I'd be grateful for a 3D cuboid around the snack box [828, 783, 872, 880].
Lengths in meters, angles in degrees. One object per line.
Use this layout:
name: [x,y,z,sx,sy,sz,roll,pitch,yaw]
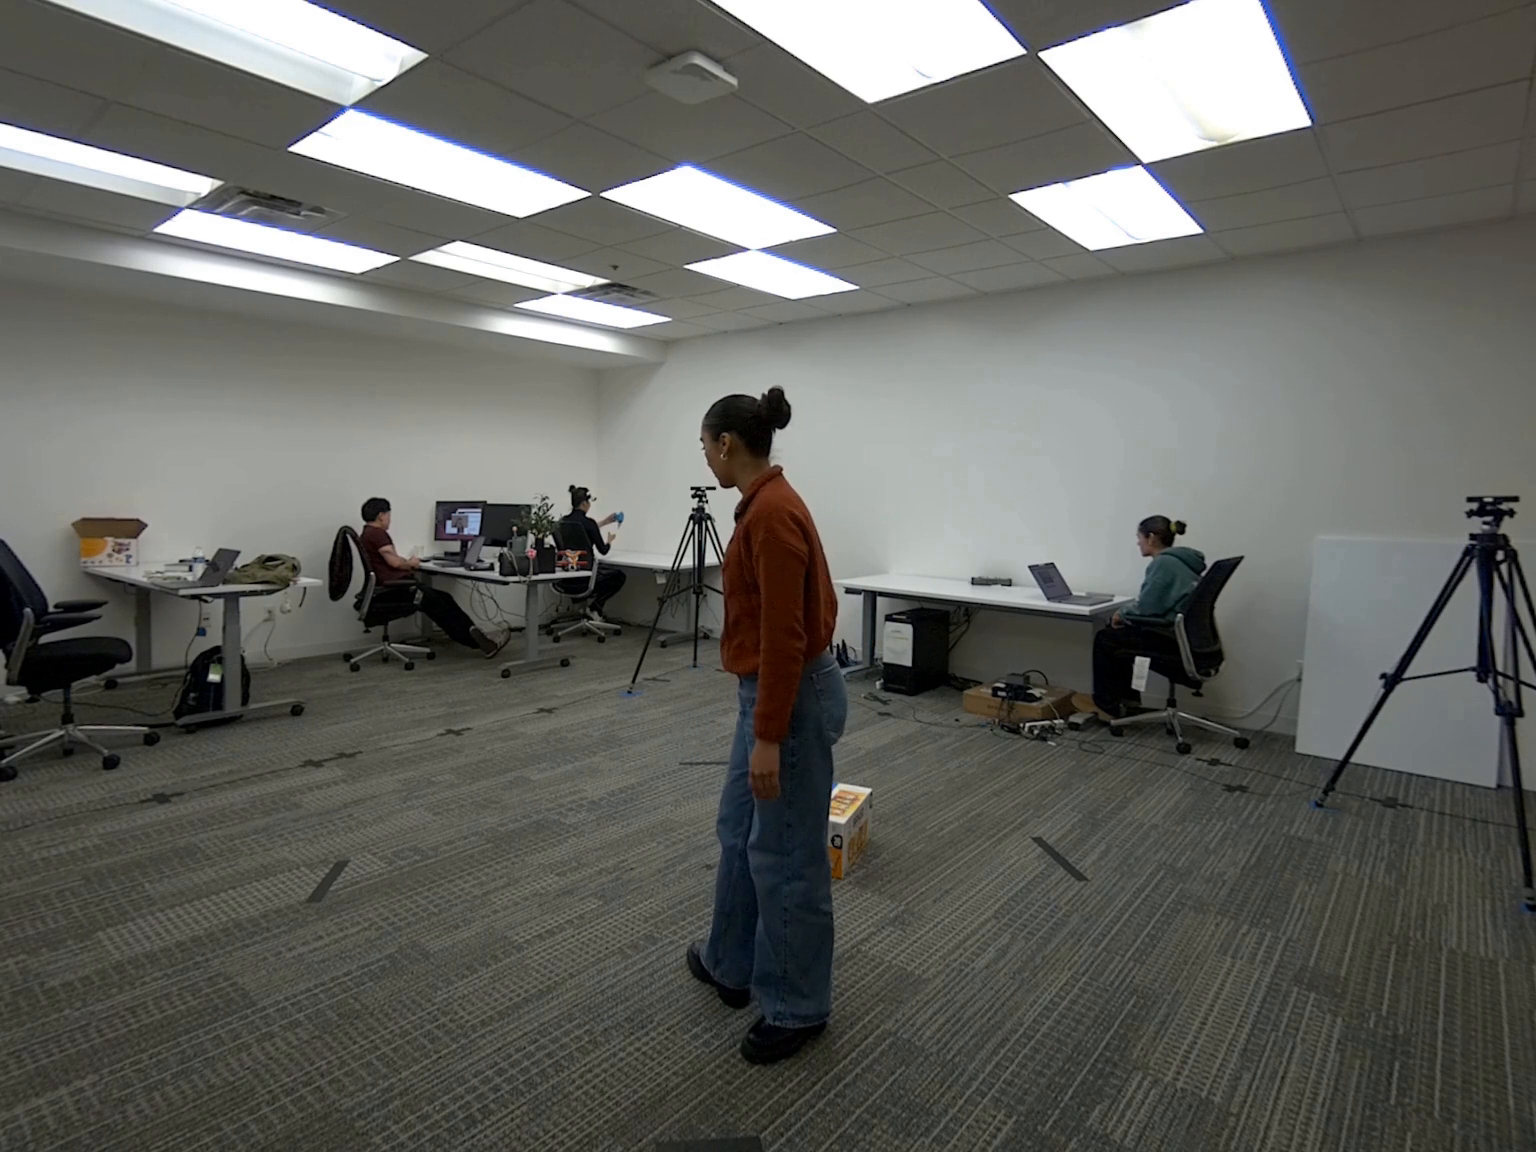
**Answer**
snack box: [0.179,0.950,3.284,0.349,0.205,0.397,4,6,23]
